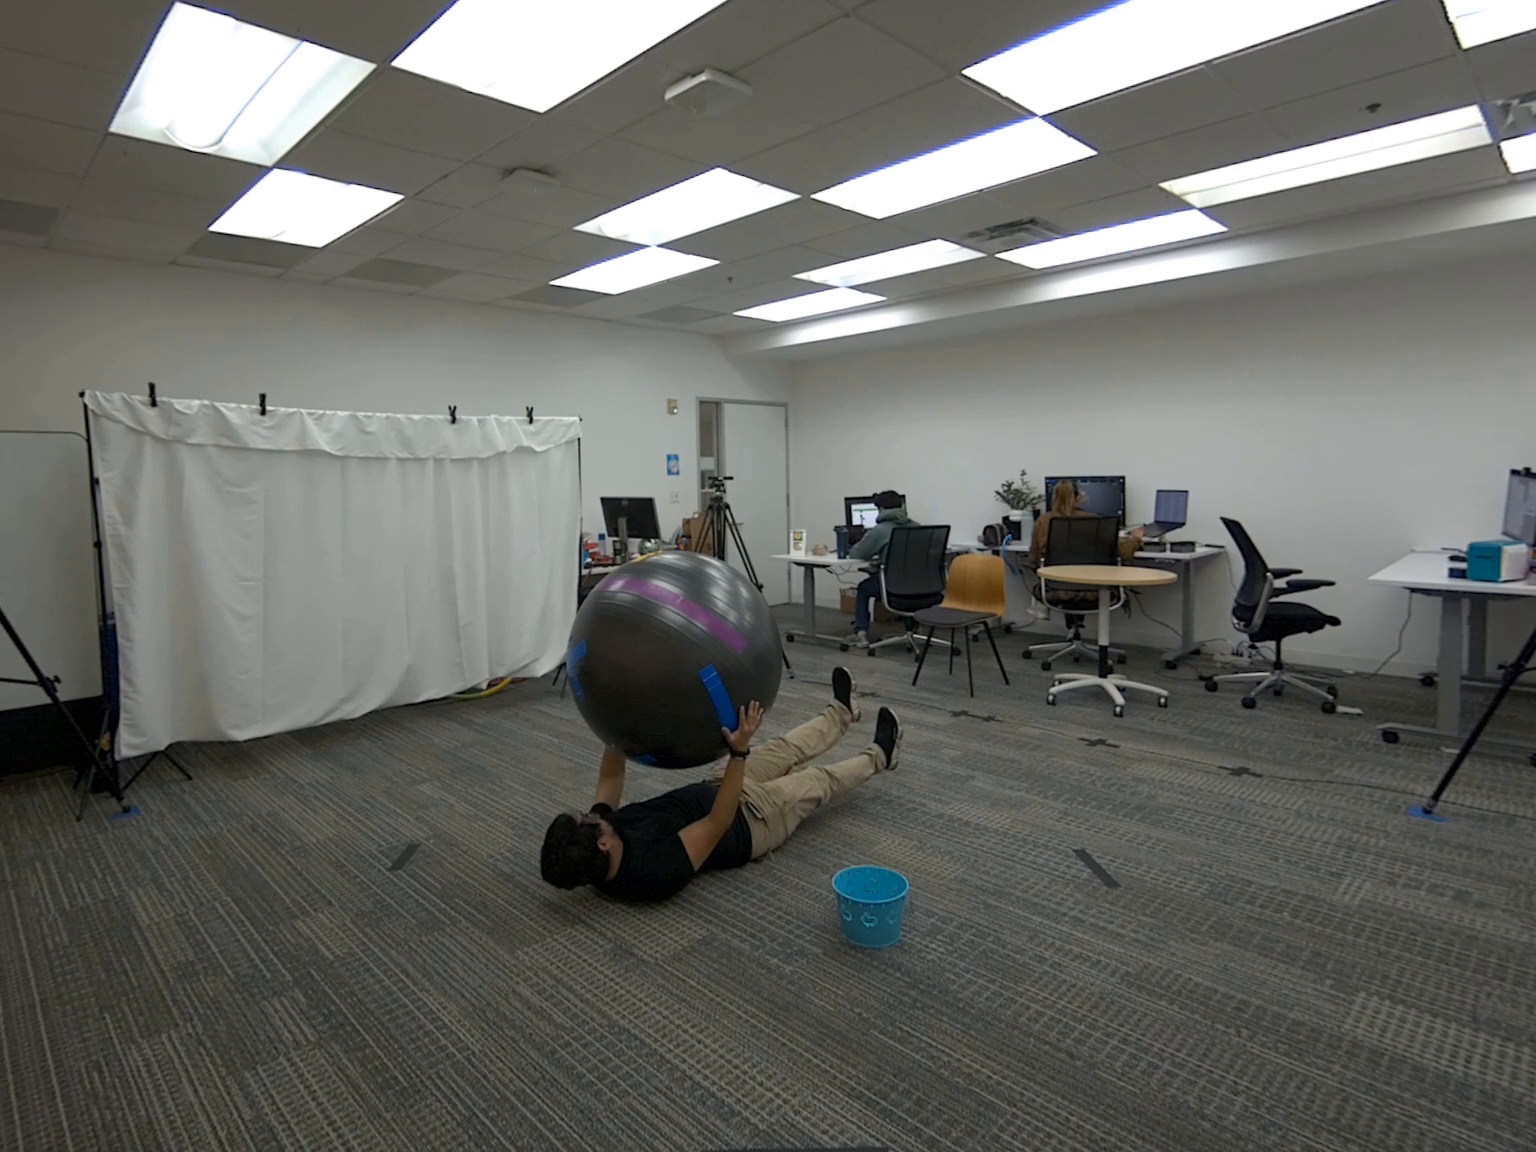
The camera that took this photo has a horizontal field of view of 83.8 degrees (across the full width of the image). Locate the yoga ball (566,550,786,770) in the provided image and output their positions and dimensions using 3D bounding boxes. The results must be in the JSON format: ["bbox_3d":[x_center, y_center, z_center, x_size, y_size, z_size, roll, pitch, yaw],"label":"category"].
[{"bbox_3d":[-0.330,0.296,3.019,0.757,0.755,0.761,-1,4,-2],"label":"yoga ball"}]
